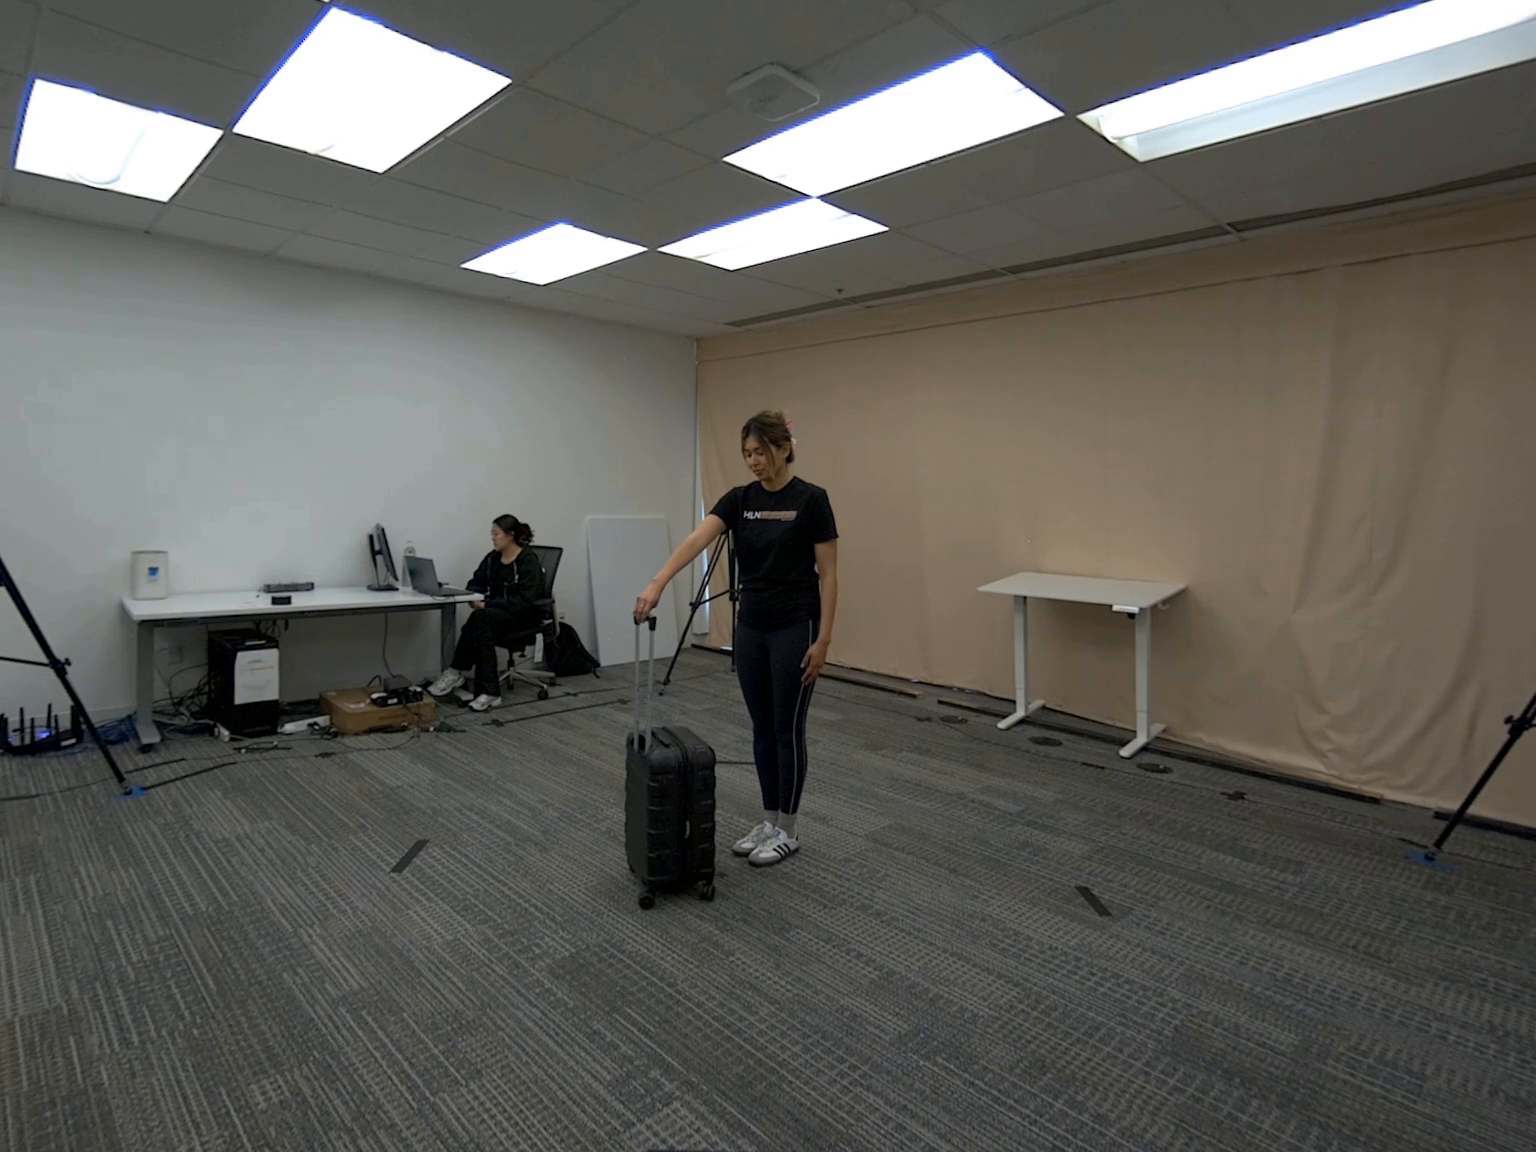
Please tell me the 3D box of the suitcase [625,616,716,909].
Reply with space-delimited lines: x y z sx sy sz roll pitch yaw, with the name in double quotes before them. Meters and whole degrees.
"suitcase" -0.353 0.631 2.999 0.253 0.976 0.391 1 4 -20
